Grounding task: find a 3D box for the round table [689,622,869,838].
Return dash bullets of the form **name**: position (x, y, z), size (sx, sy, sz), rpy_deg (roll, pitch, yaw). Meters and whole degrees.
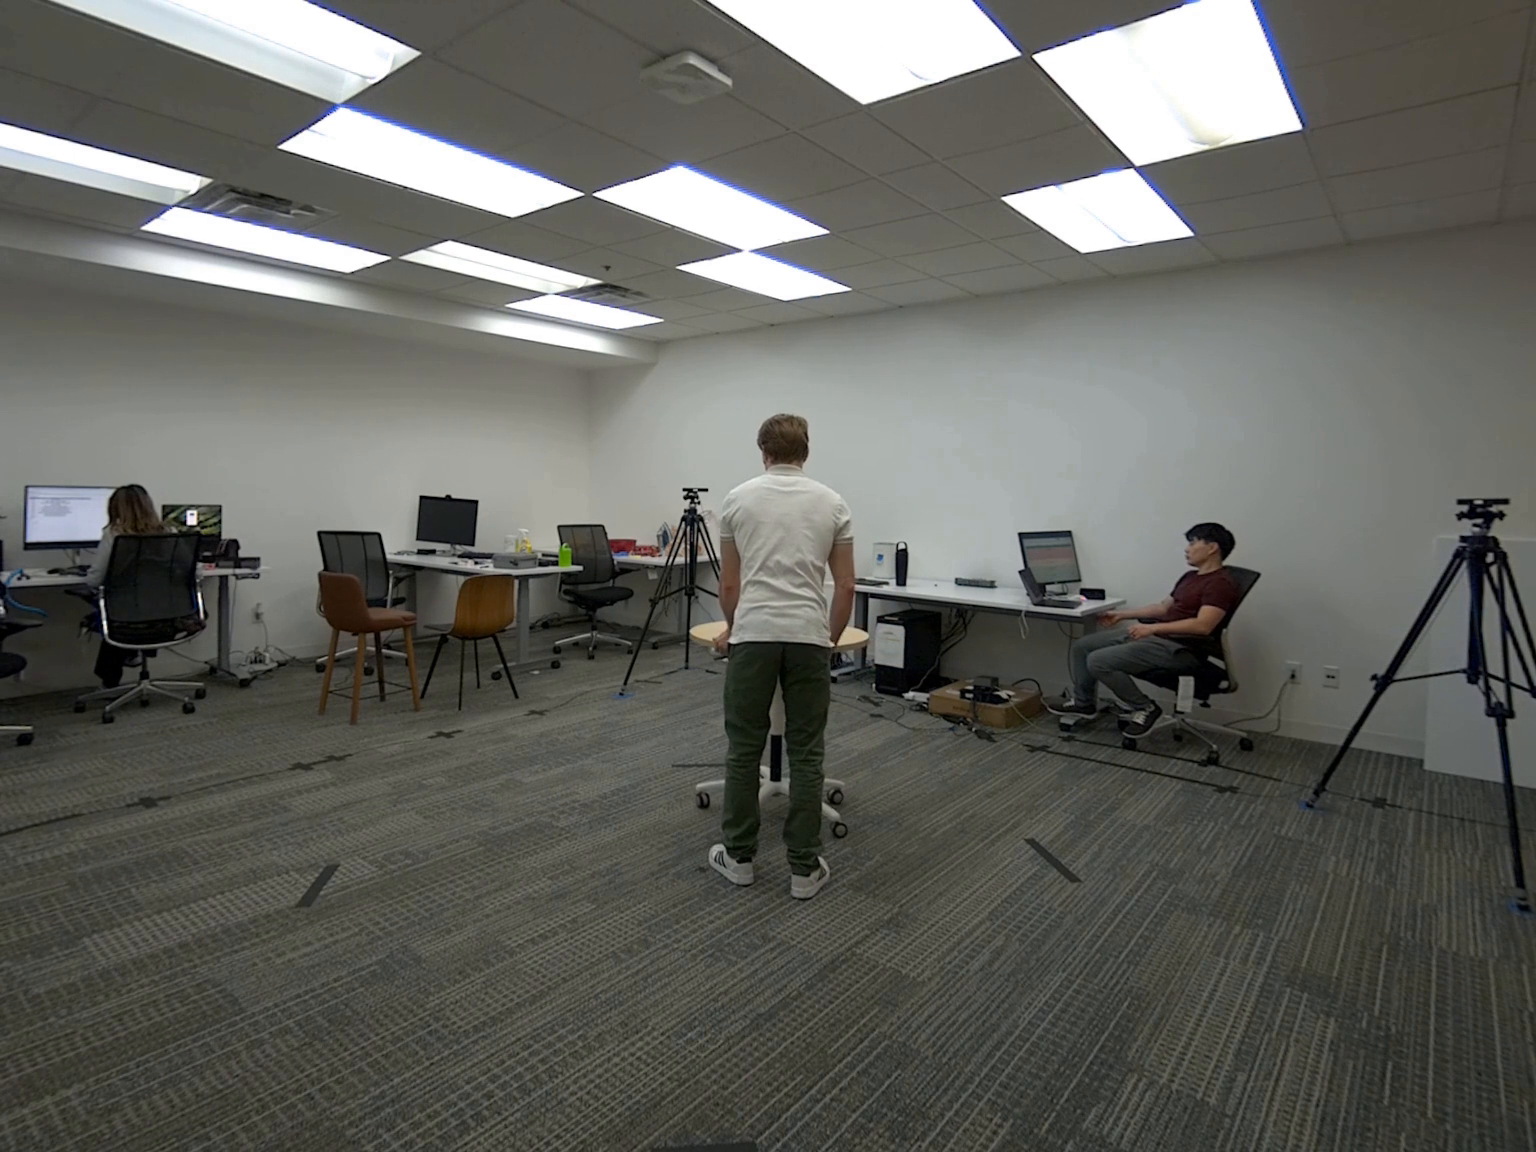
- **round table**: position (0.023, 0.632, 3.659), size (0.763, 0.792, 0.767), rpy_deg (1, 3, -2)
